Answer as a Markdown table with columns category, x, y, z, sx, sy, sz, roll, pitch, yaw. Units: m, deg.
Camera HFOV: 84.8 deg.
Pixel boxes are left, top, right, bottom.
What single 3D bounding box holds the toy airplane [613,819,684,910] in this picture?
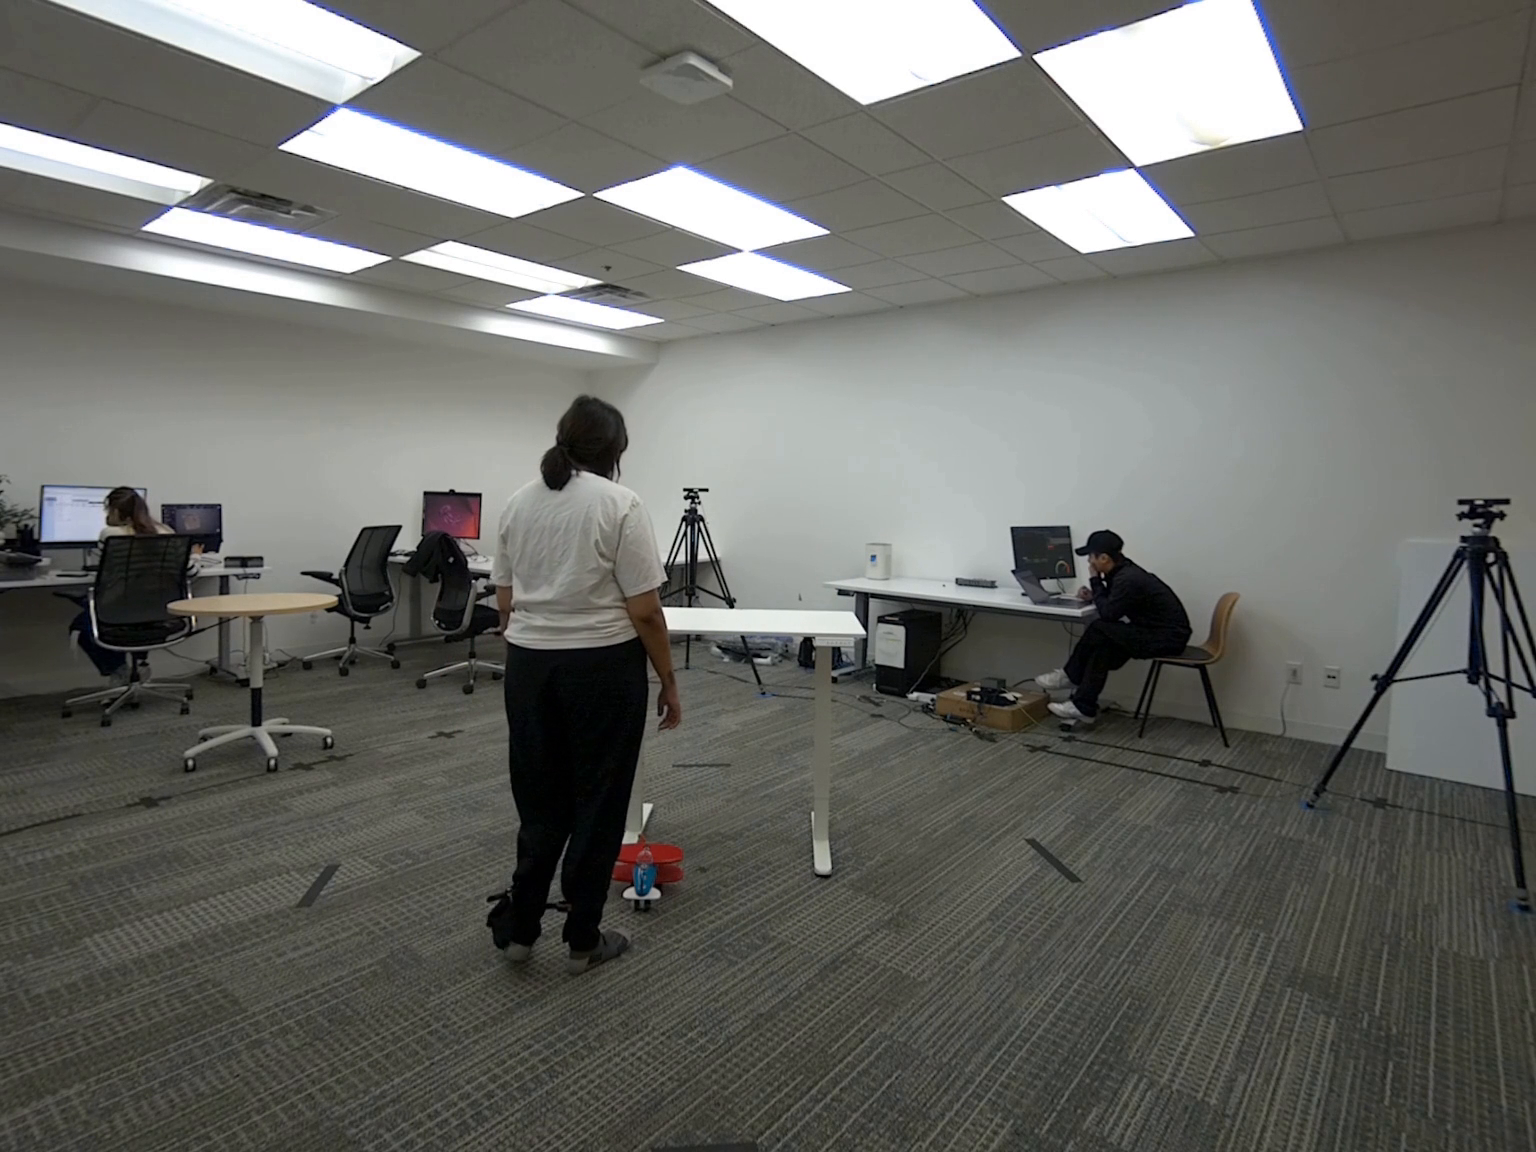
| category | x | y | z | sx | sy | sz | roll | pitch | yaw |
| --- | --- | --- | --- | --- | --- | --- | --- | --- | --- |
| toy airplane | -0.401 | 1.012 | 2.889 | 0.244 | 0.156 | 0.267 | -4 | 6 | -32 |
